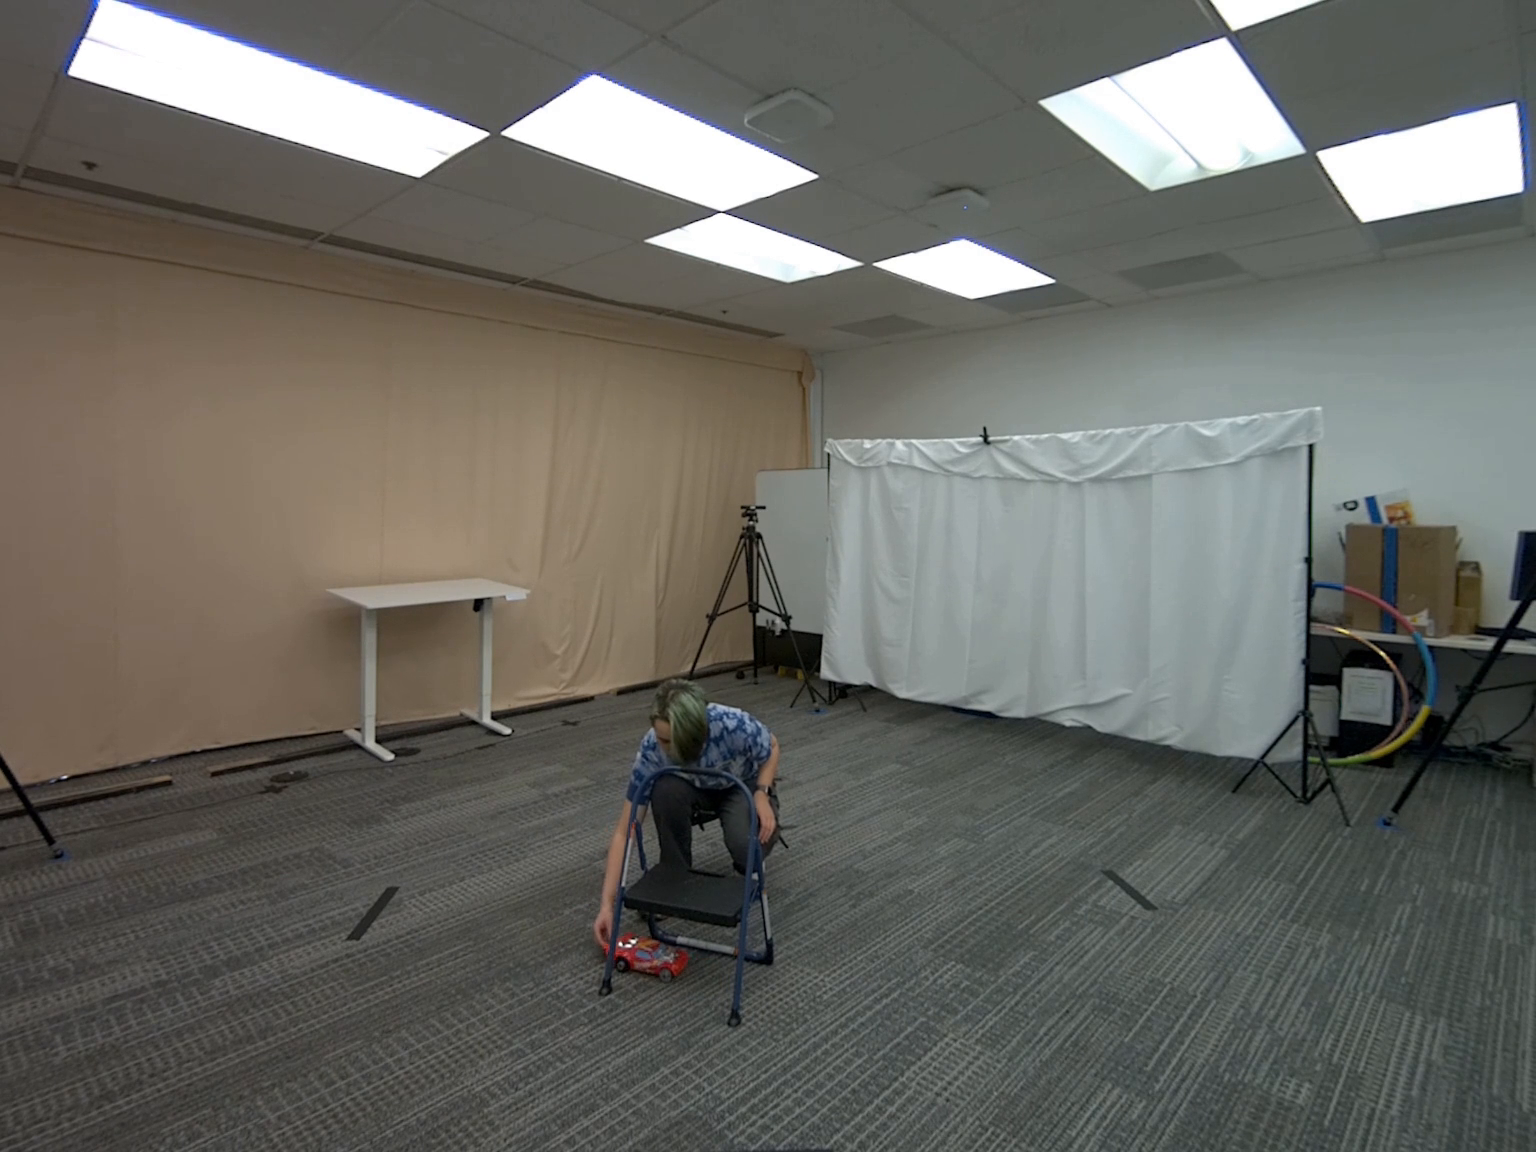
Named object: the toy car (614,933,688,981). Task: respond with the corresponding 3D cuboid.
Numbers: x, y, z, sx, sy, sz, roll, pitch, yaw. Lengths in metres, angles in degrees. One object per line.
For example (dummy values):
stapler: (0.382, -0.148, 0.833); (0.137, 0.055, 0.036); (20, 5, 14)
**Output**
toy car: (-0.374, 1.149, 2.544); (0.261, 0.083, 0.128); (12, 9, 21)
